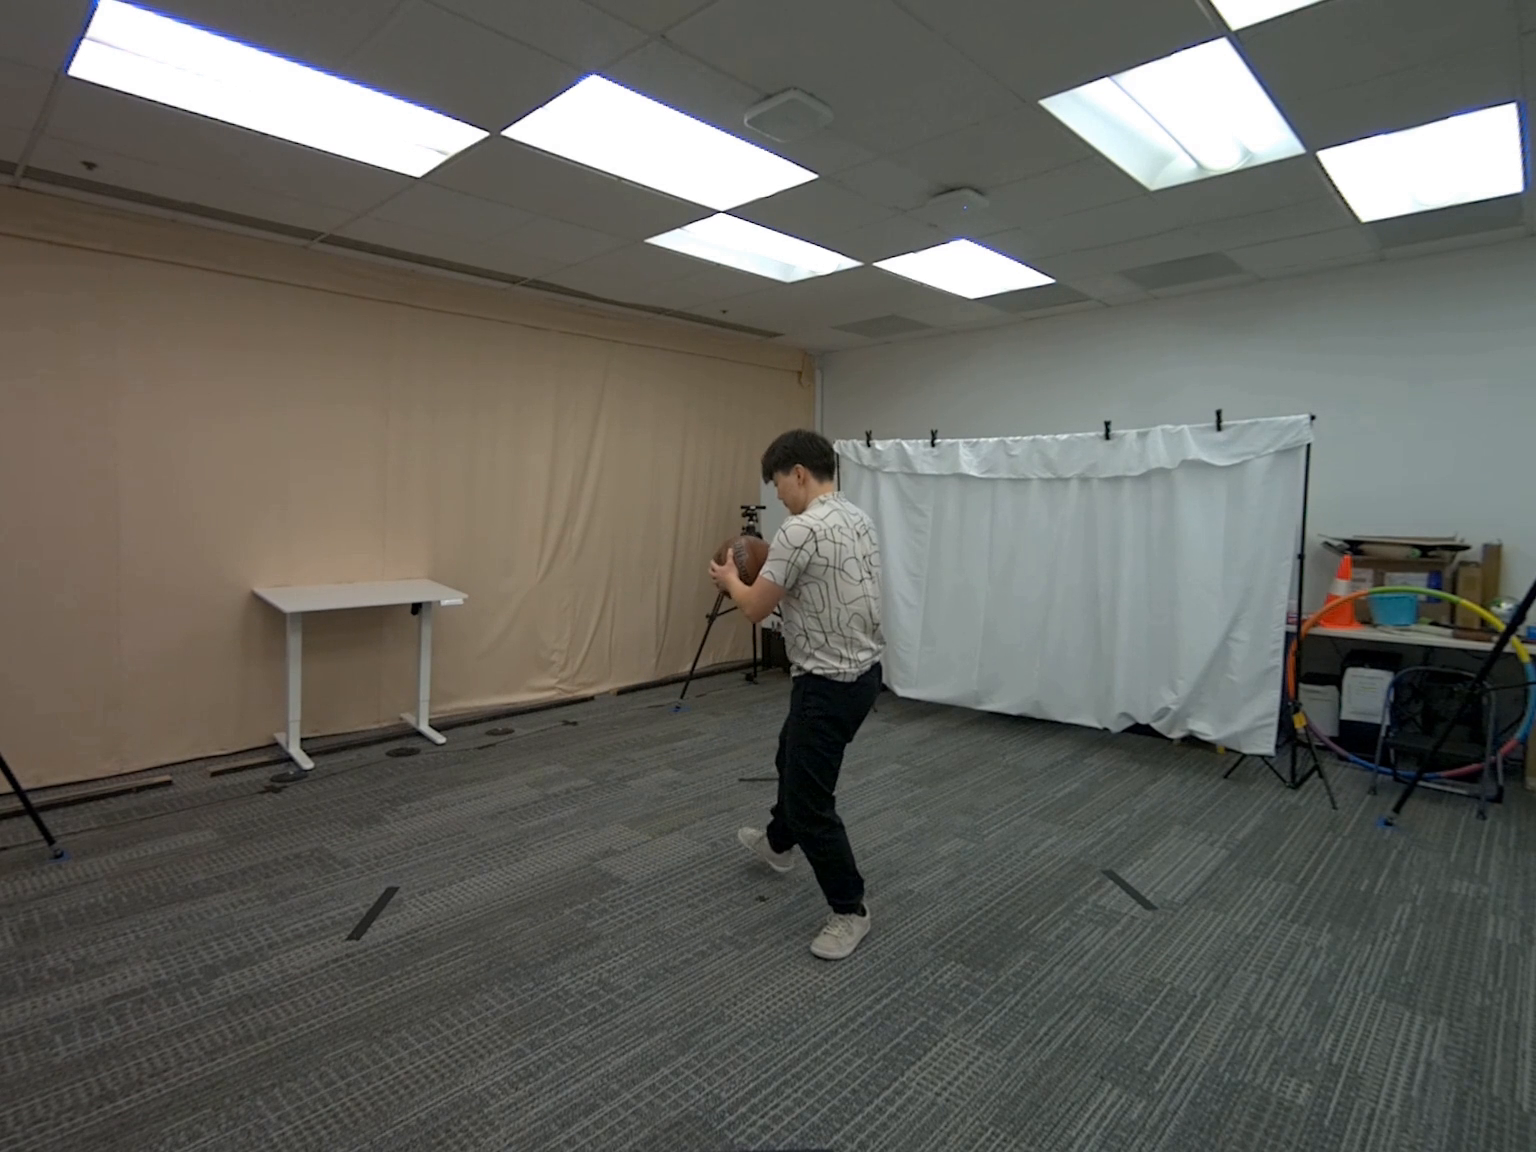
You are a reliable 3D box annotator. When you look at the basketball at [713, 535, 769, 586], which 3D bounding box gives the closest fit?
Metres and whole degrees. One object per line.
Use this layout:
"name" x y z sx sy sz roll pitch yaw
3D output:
"basketball" -0.081 -0.011 2.967 0.236 0.235 0.237 0 4 -2
